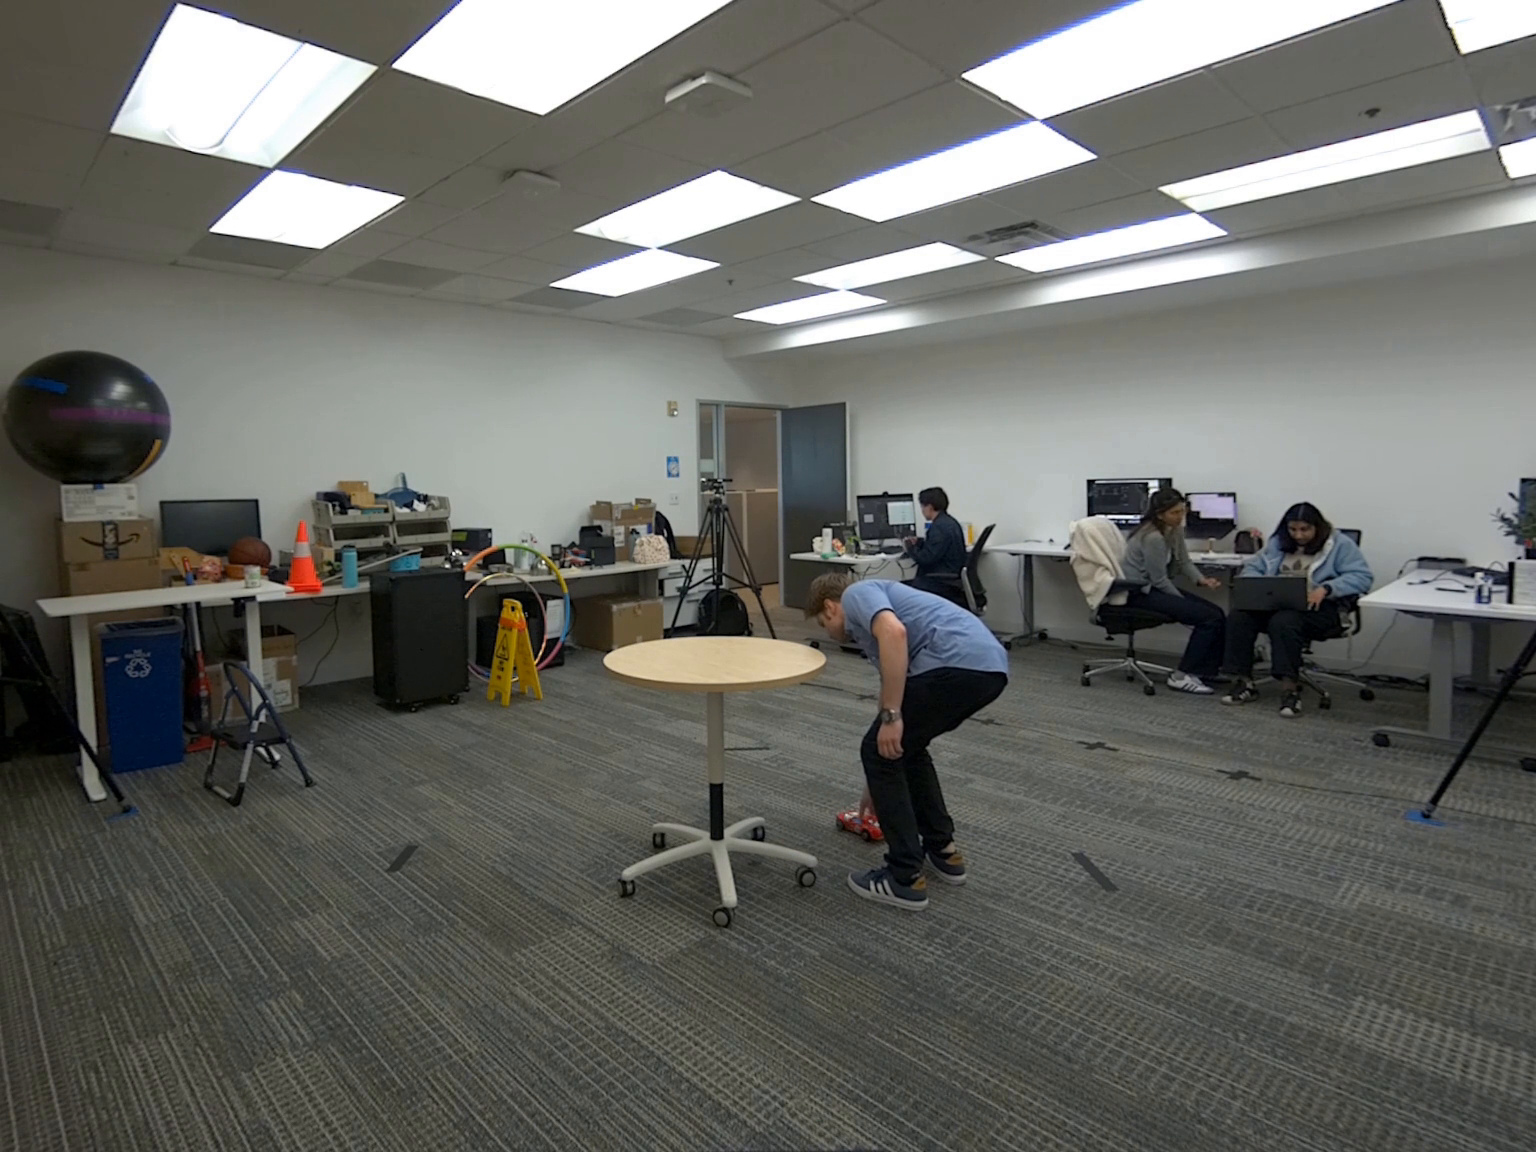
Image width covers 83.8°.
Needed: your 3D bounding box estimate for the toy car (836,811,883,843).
[{"bbox_3d":[0.388,0.978,3.344,0.127,0.083,0.260,-4,-4,-37],"label":"toy car"}]
